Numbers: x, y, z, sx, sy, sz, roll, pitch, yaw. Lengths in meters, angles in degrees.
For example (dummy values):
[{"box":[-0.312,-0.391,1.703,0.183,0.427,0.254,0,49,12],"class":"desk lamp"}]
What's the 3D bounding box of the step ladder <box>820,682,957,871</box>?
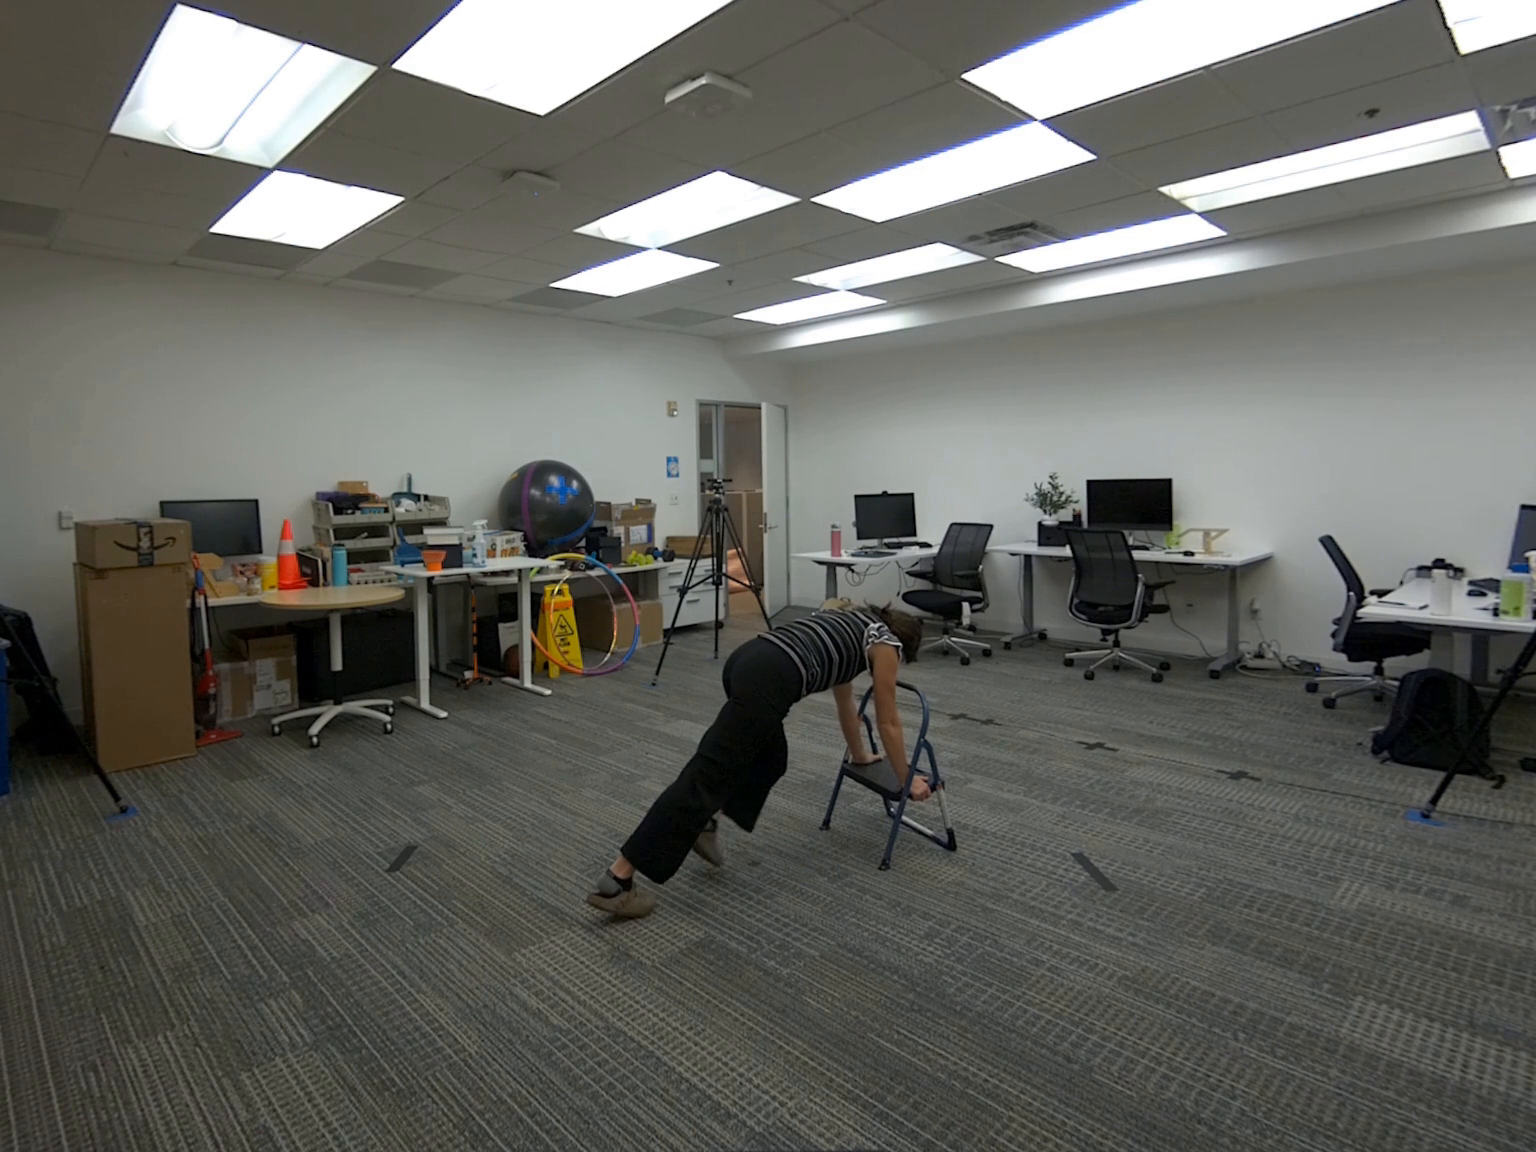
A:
[{"box":[0.454,0.716,3.279,0.341,0.604,0.442,-3,5,-28],"class":"step ladder"}]
